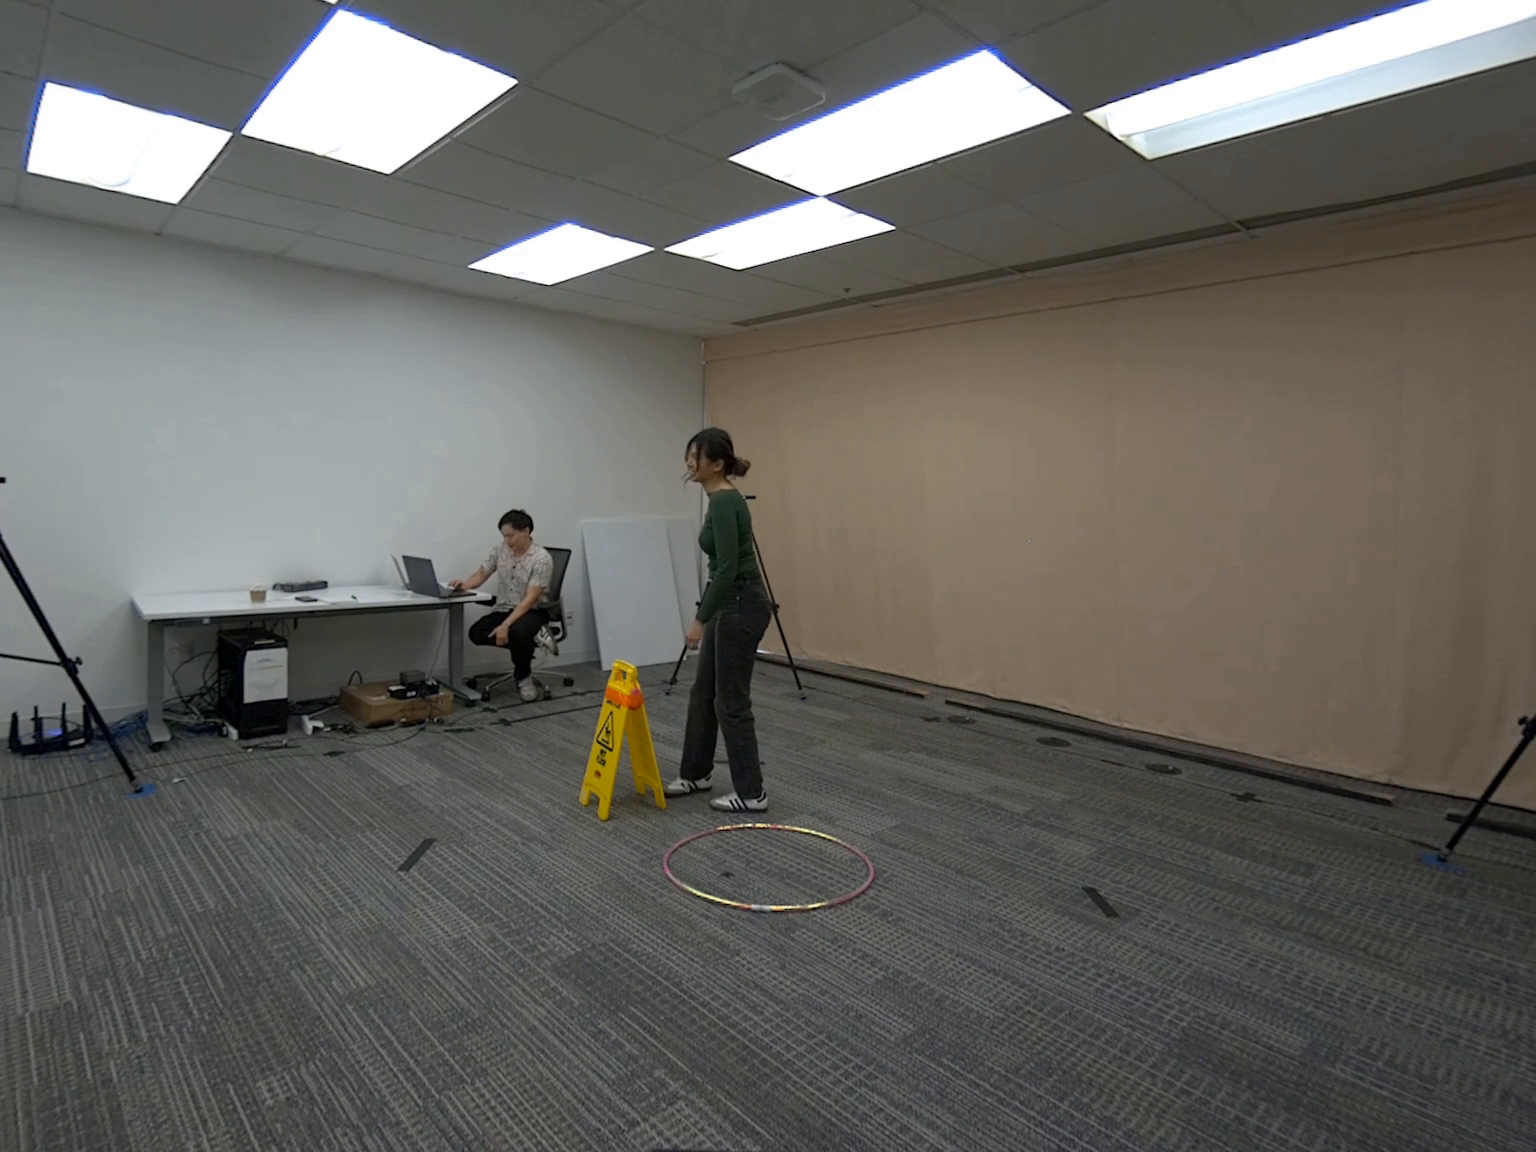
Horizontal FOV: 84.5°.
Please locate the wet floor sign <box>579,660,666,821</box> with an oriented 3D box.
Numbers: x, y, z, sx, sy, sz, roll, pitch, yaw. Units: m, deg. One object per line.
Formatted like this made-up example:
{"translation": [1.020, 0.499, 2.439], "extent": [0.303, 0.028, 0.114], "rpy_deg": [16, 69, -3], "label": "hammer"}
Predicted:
{"translation": [-0.653, 0.710, 3.766], "extent": [0.283, 0.645, 0.289], "rpy_deg": [0, 4, -35], "label": "wet floor sign"}
